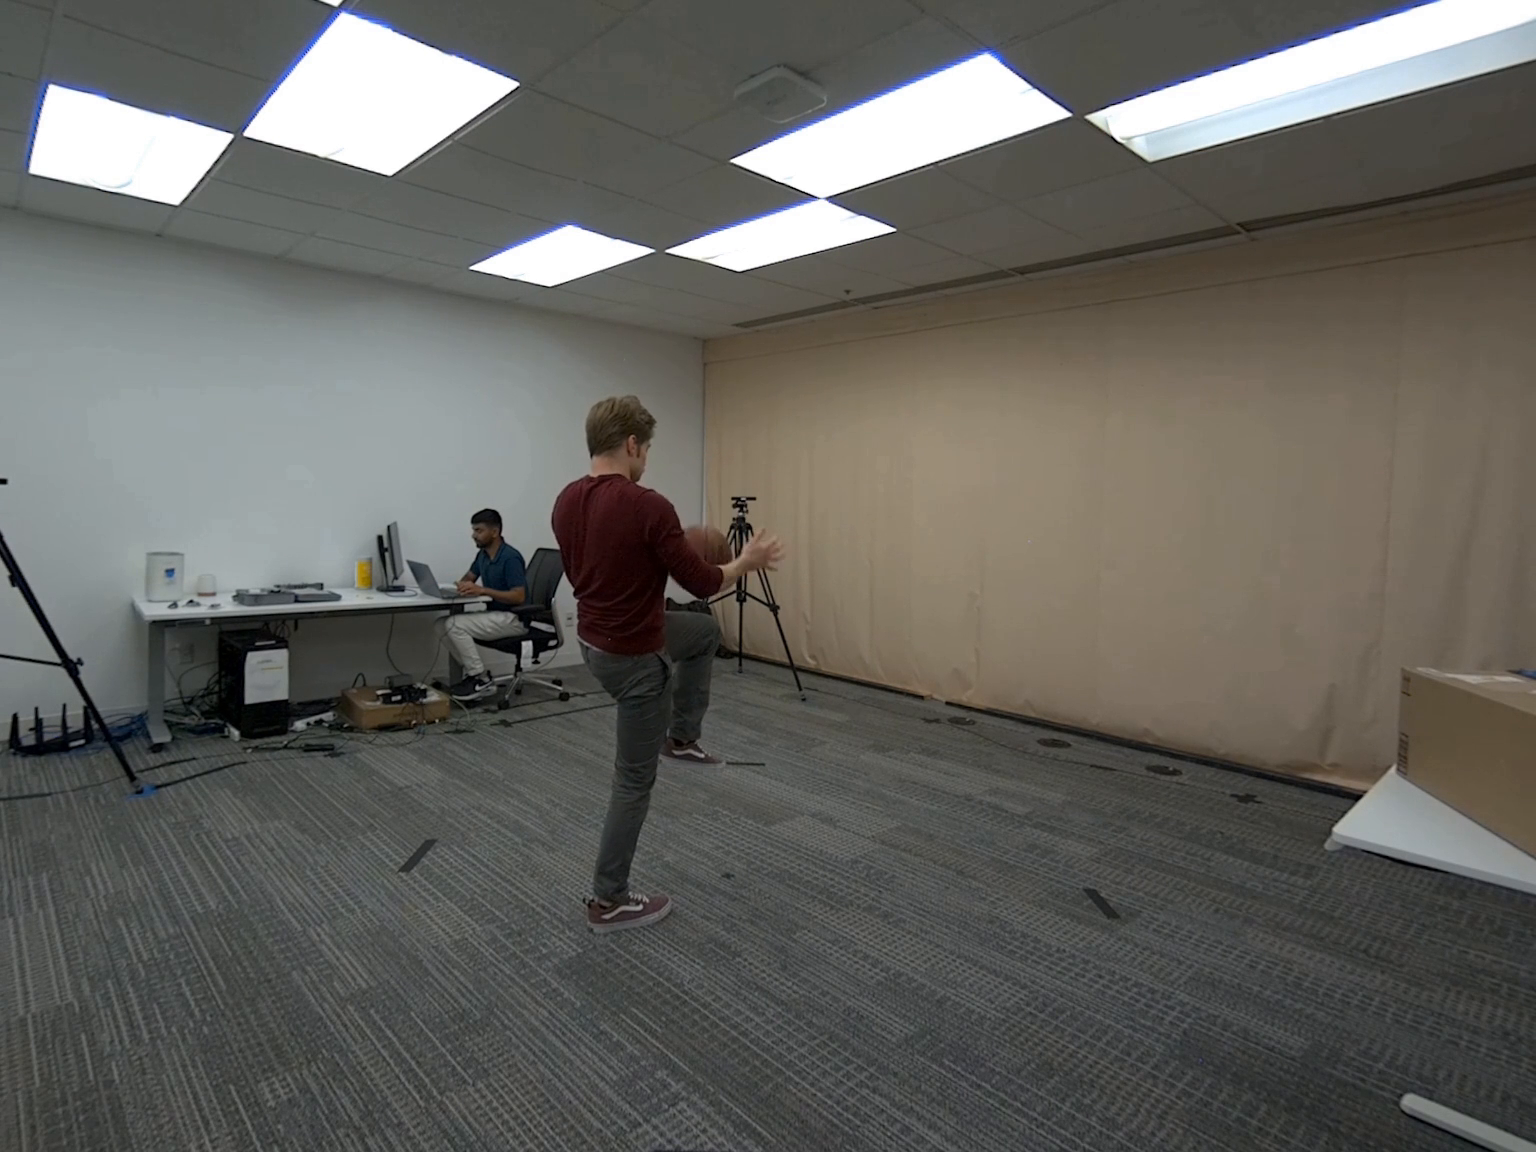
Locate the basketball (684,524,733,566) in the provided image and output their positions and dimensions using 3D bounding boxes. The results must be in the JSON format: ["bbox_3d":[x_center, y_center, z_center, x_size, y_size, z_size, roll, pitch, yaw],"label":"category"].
[{"bbox_3d":[-0.243,-0.111,2.991,0.236,0.235,0.237,1,4,-1],"label":"basketball"}]
